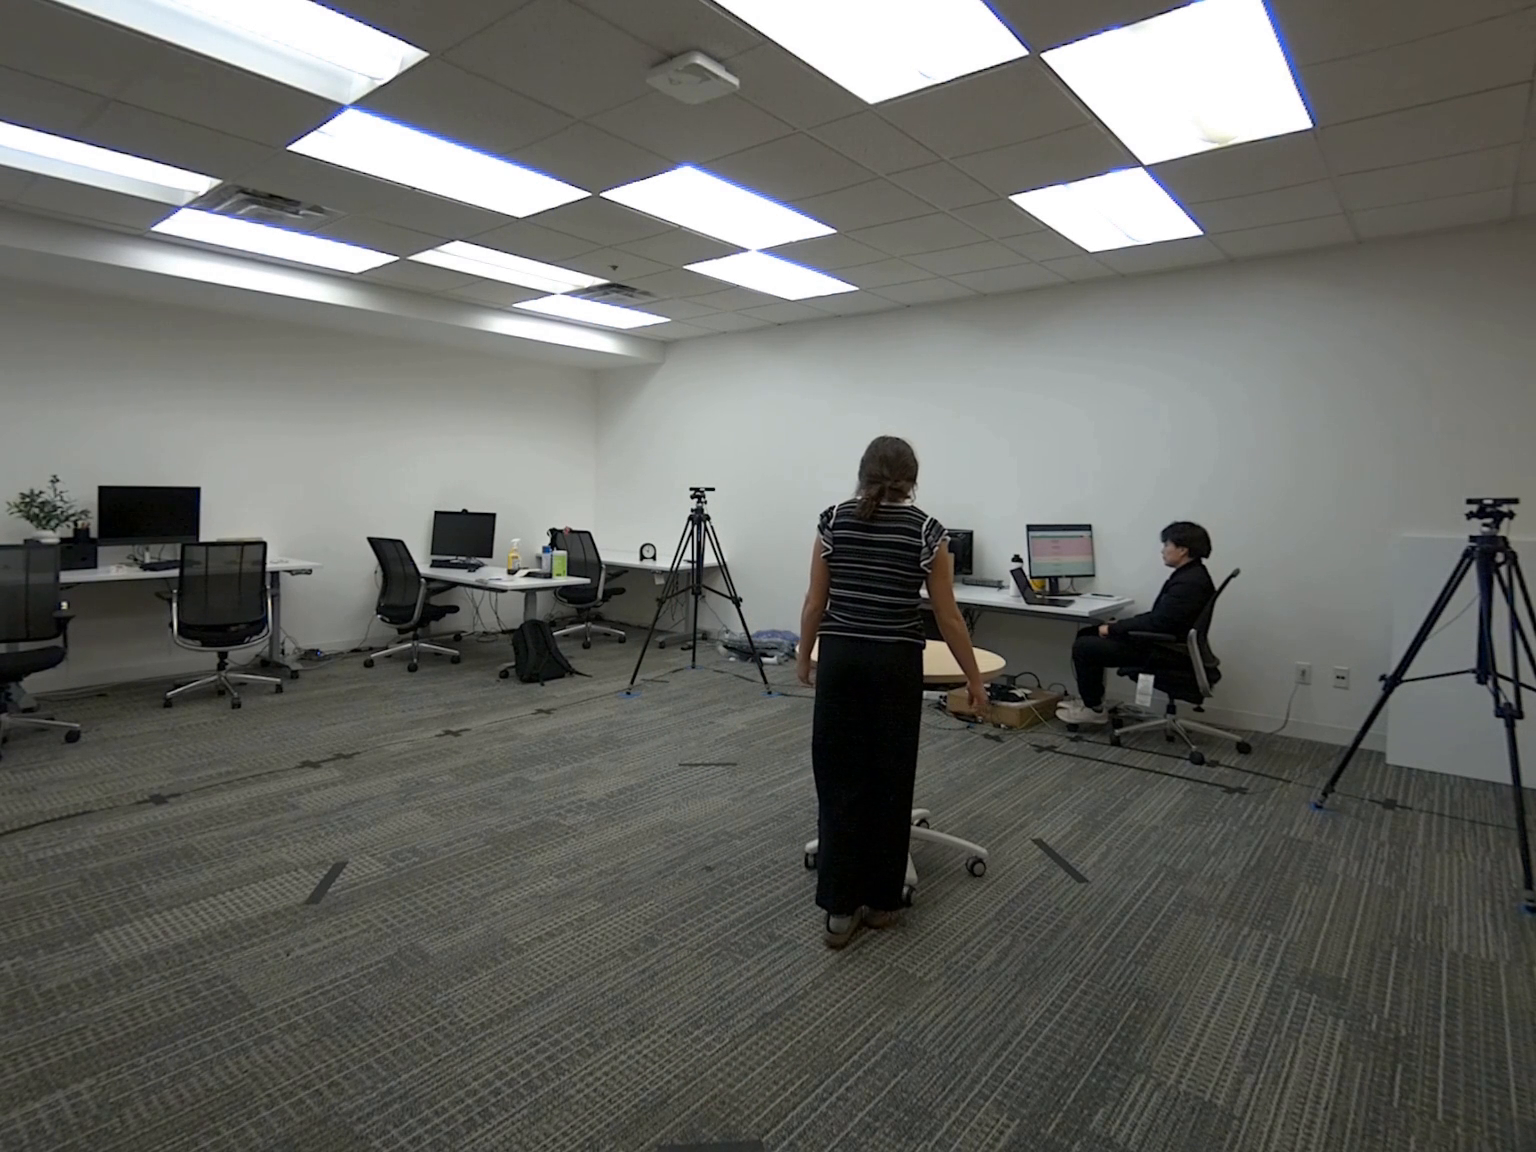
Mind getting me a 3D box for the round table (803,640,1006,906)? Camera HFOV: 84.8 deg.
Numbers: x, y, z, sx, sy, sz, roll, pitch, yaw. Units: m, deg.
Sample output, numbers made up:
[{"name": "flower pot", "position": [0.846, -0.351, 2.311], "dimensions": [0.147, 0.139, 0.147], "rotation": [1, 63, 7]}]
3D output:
[{"name": "round table", "position": [0.465, 0.678, 3.215], "dimensions": [0.763, 0.791, 0.768], "rotation": [2, 4, -2]}]
